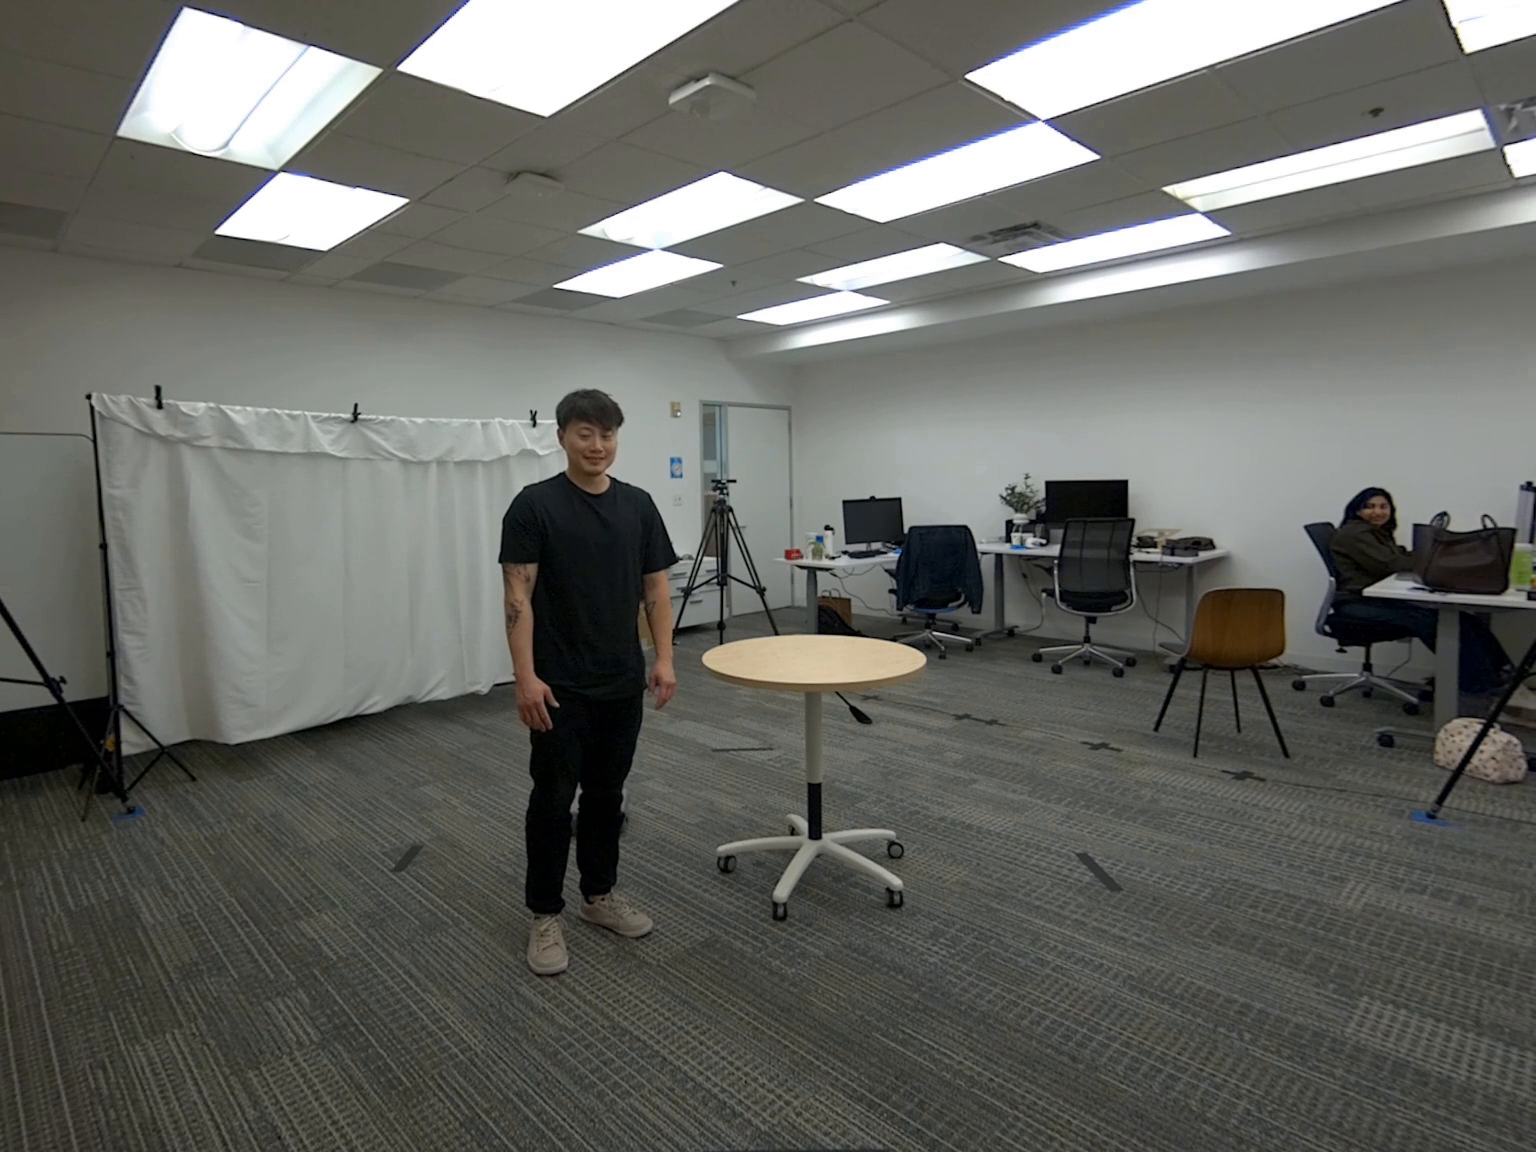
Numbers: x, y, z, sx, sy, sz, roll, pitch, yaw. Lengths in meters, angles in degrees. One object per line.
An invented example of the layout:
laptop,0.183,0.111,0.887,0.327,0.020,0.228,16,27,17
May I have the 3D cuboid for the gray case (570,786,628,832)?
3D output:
gray case,-0.700,0.959,3.509,0.256,0.104,0.263,-2,5,-5
